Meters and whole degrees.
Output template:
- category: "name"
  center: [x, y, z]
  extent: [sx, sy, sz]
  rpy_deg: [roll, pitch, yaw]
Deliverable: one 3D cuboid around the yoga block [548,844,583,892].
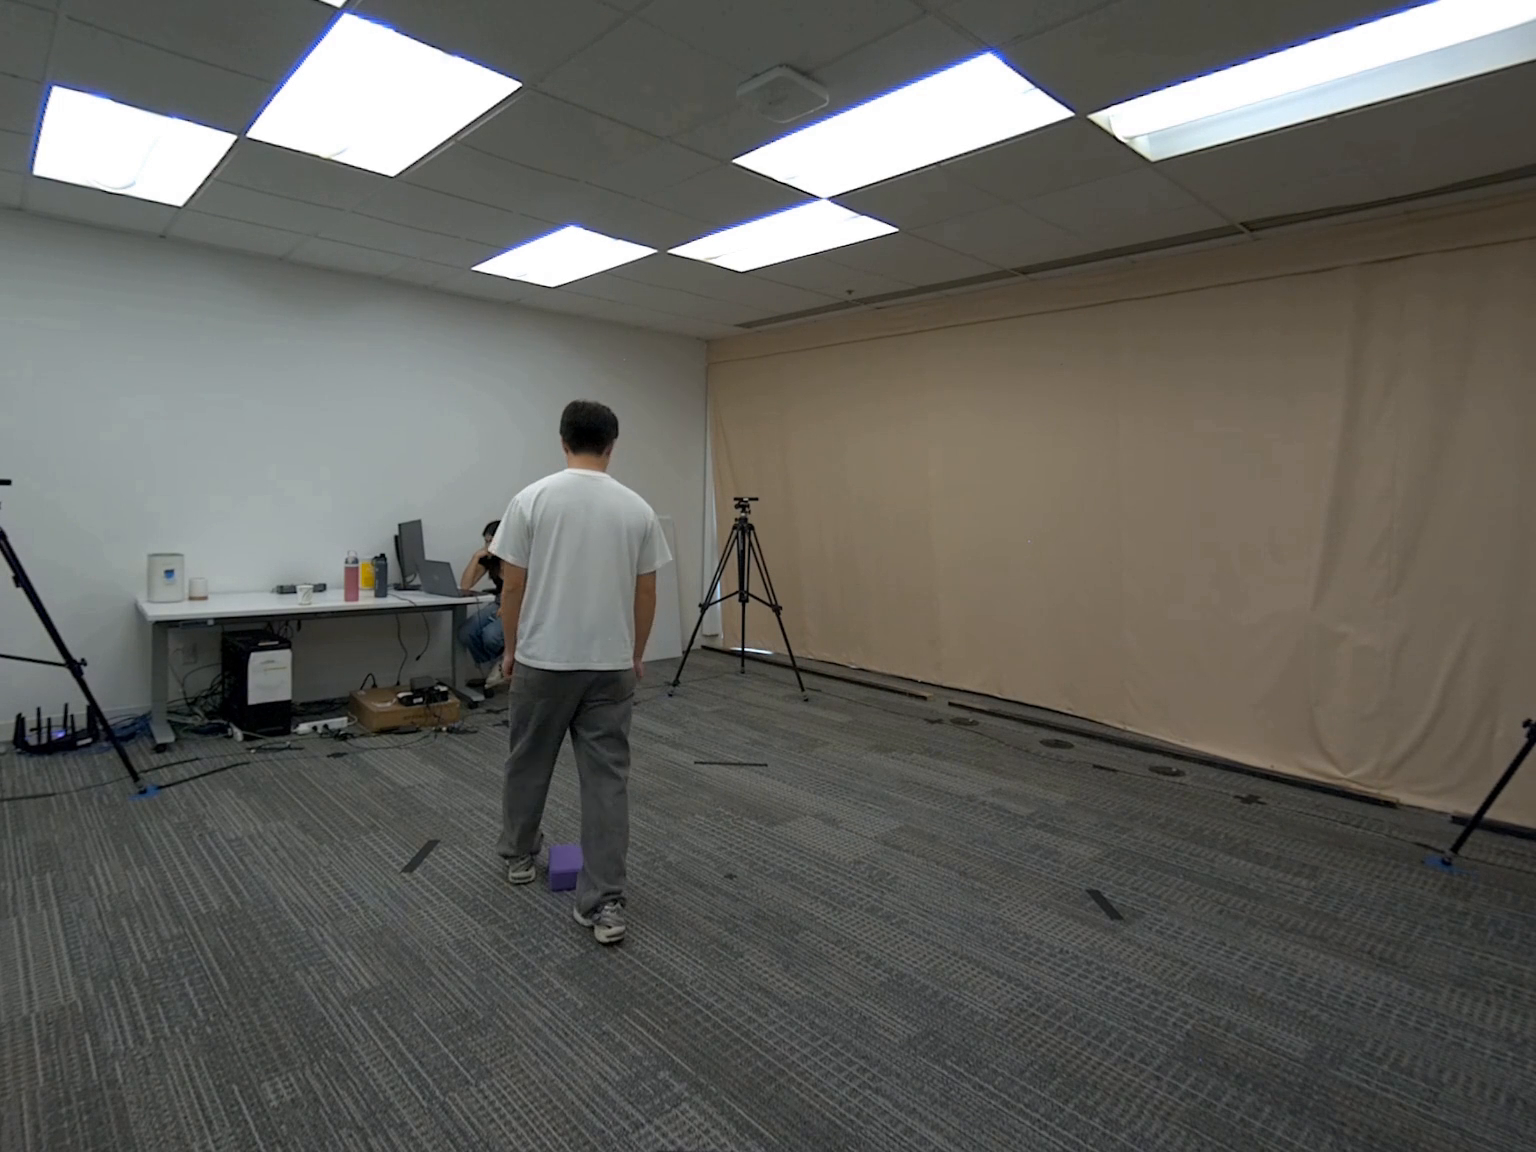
- category: "yoga block"
  center: [-0.729, 1.061, 3.059]
  extent: [0.147, 0.076, 0.232]
  rpy_deg: [-1, 6, -13]
